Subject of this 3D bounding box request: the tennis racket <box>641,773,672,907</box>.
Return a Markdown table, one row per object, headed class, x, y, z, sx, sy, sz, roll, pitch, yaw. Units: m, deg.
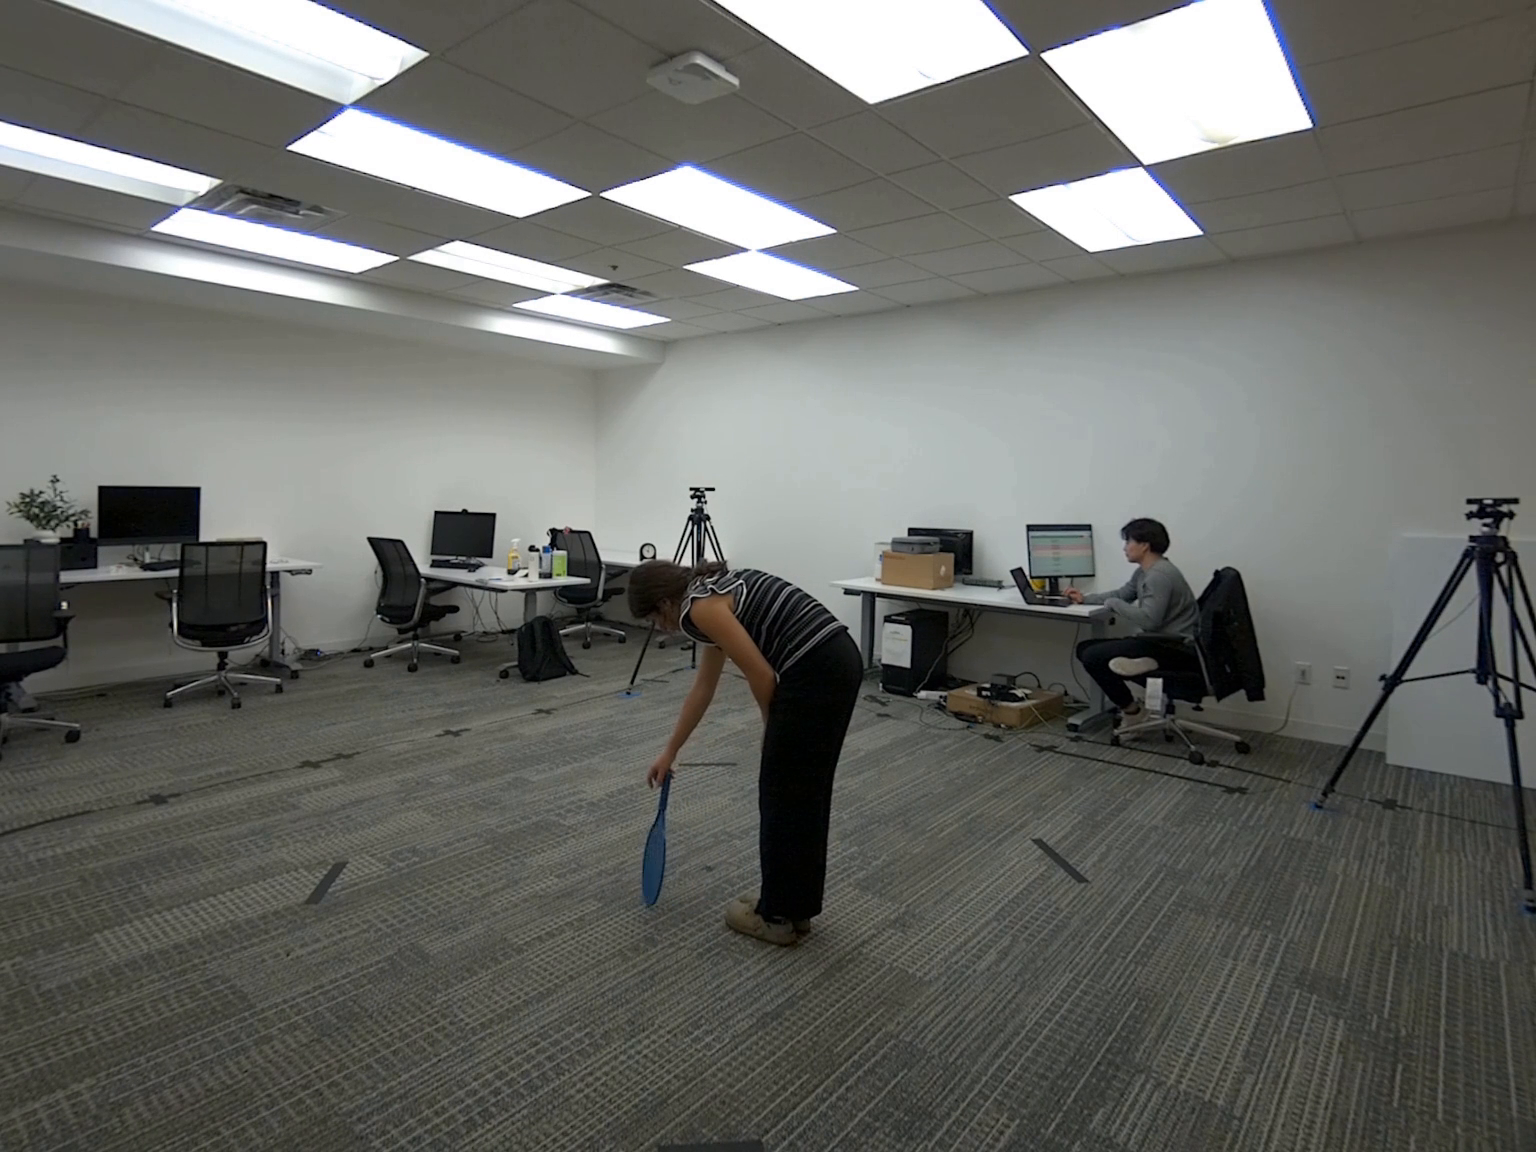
| class | x | y | z | sx | sy | sz | roll | pitch | yaw |
| --- | --- | --- | --- | --- | --- | --- | --- | --- | --- |
| tennis racket | -0.379 | 0.876 | 2.846 | 0.031 | 0.436 | 0.217 | 9 | -8 | -21 |
